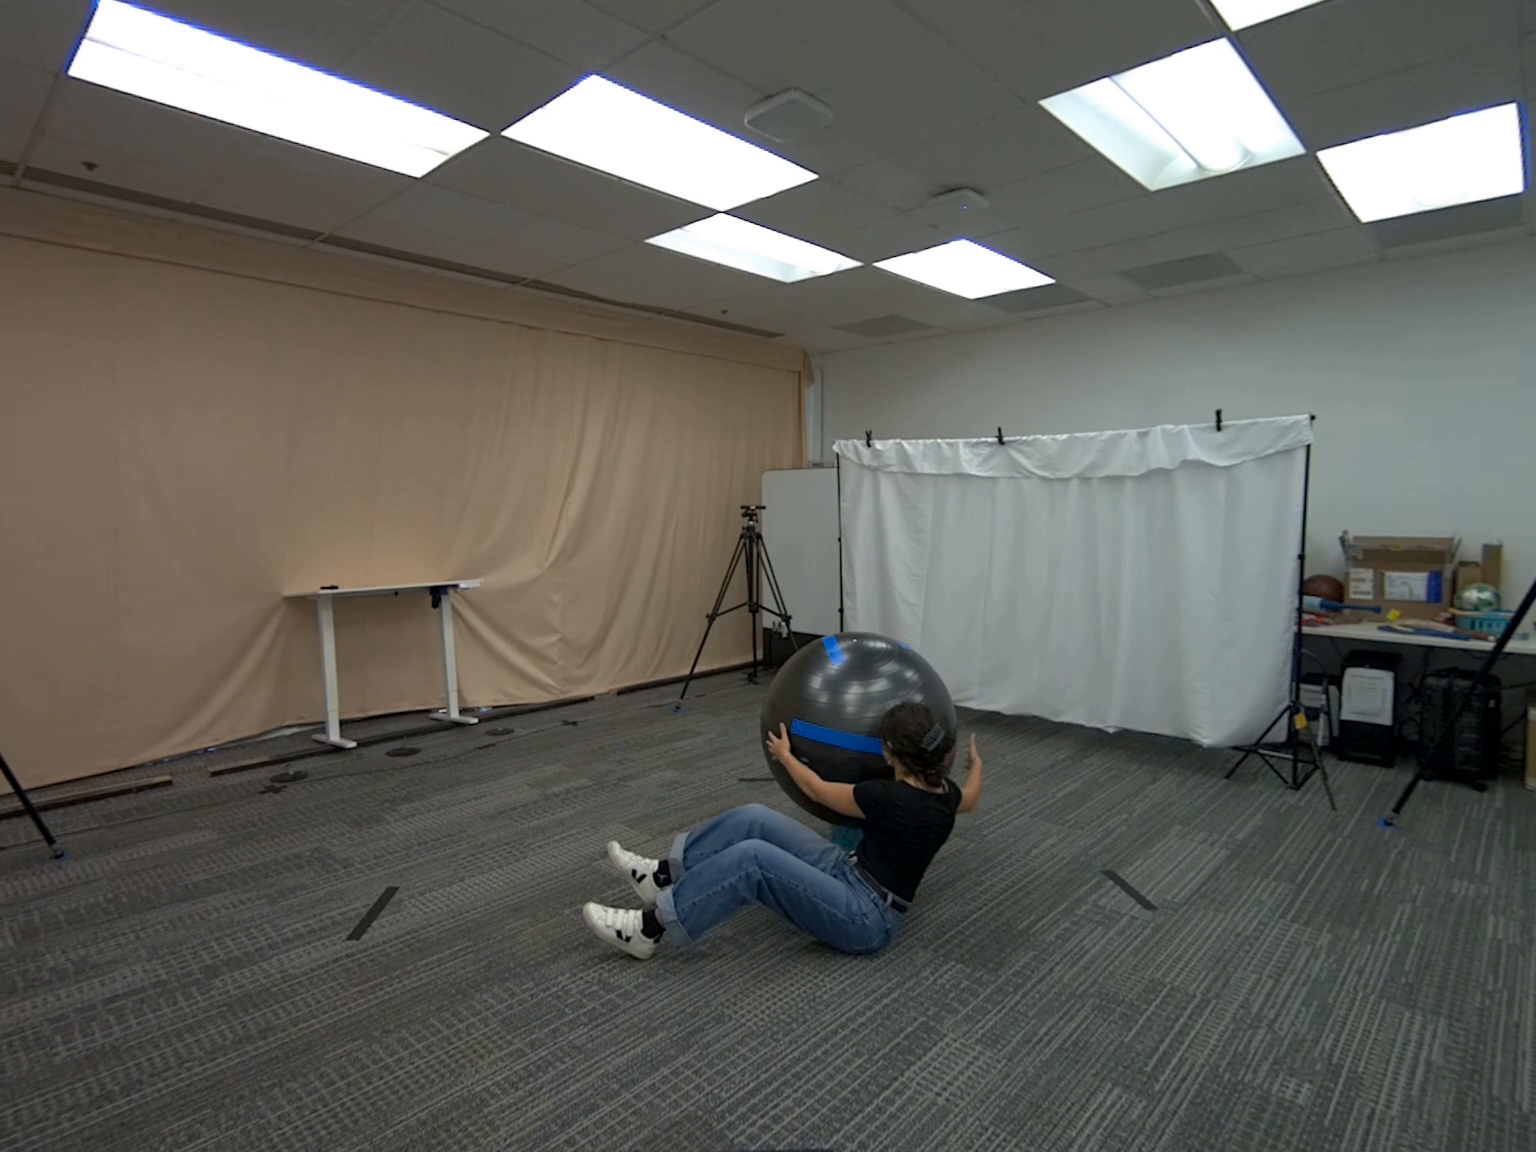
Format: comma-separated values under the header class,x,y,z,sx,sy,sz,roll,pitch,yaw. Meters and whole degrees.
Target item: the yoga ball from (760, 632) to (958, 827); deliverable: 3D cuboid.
class,x,y,z,sx,sy,sz,roll,pitch,yaw
yoga ball,0.362,0.604,3.324,0.757,0.756,0.761,0,4,-2
